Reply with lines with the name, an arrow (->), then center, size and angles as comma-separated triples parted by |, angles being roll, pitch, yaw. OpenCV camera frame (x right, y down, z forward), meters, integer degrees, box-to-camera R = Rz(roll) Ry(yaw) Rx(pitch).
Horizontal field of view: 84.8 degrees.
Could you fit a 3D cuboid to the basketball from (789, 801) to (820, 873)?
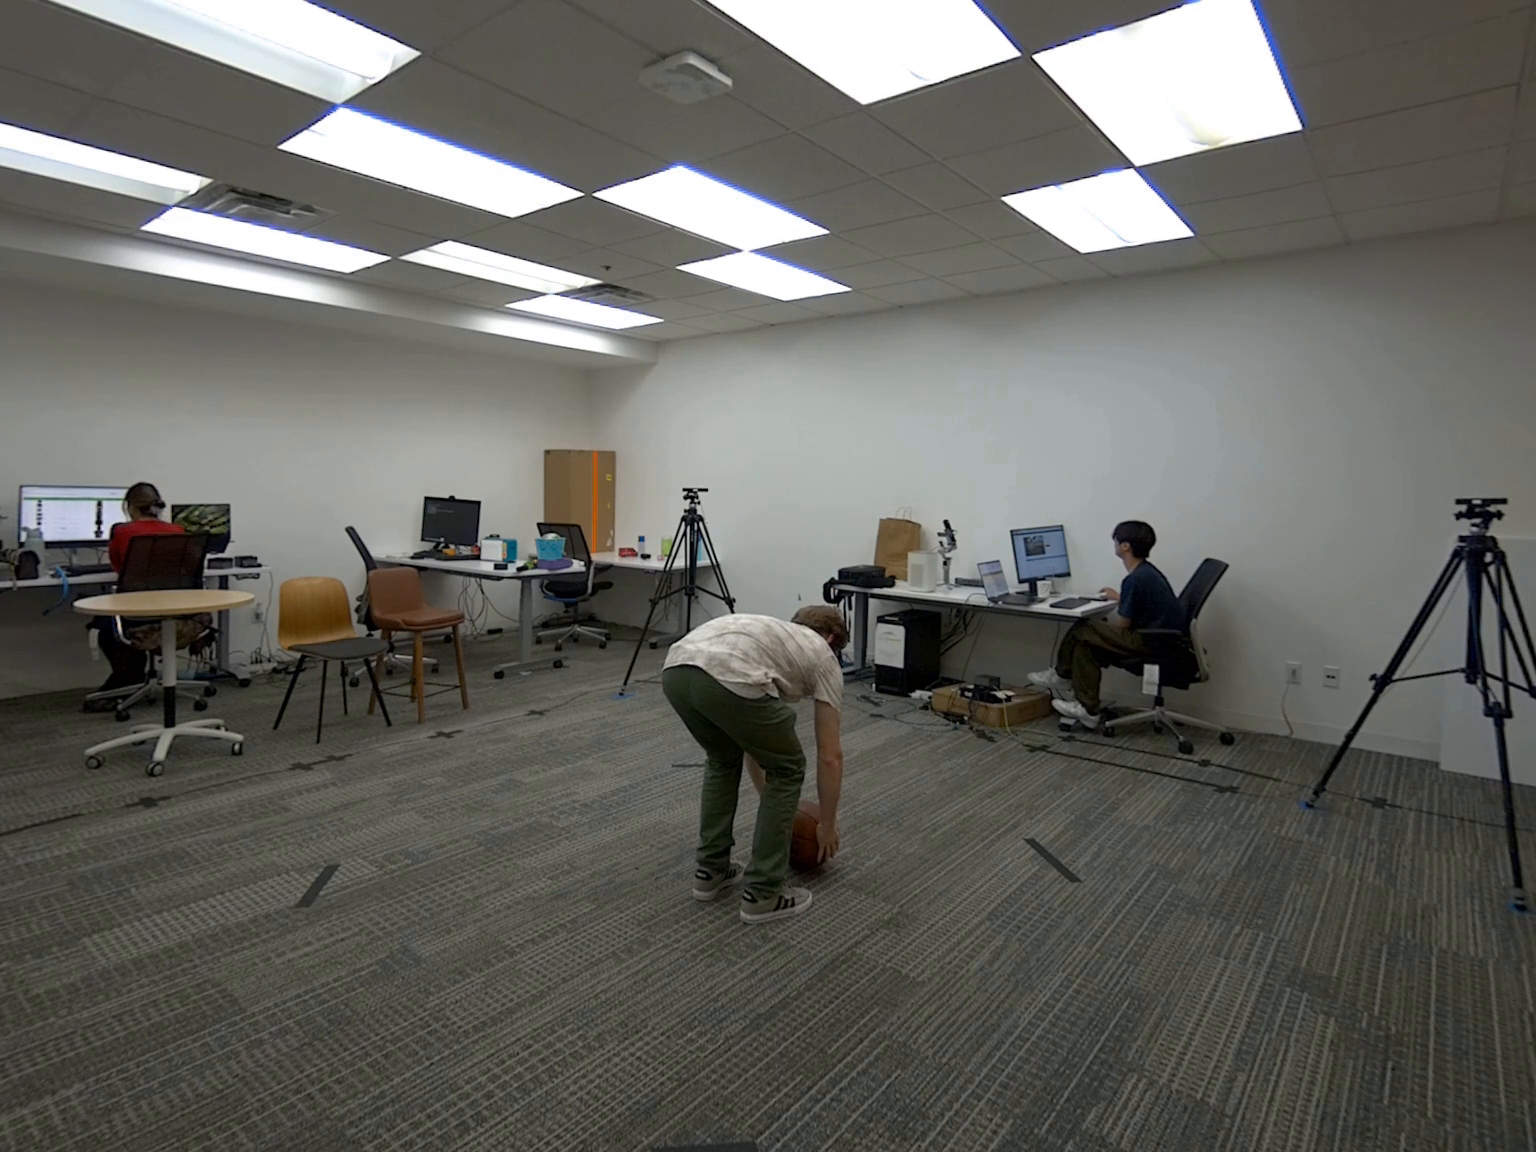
basketball -> 0.121, 0.944, 3.134 | 0.235, 0.235, 0.237 | 1, 4, -2
